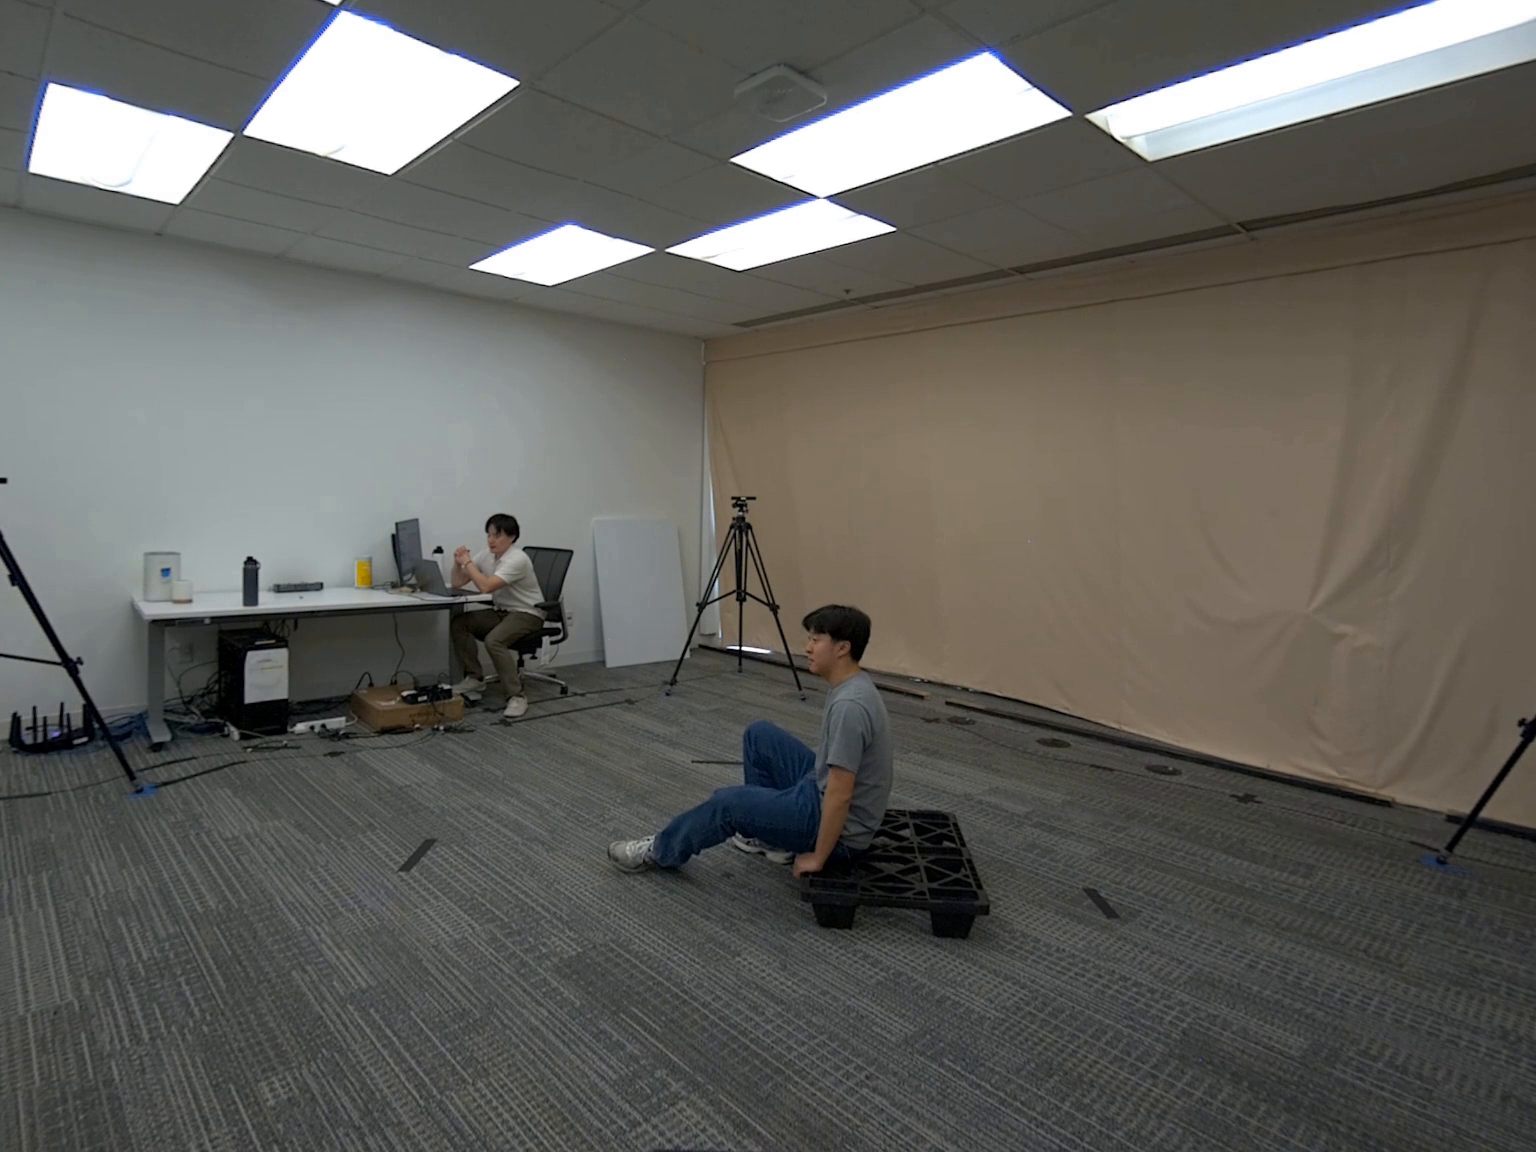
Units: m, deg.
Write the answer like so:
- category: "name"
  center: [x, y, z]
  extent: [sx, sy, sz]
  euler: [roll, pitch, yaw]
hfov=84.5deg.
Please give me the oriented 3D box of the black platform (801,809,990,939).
- category: "black platform"
  center: [0.421, 1.053, 3.066]
  extent: [0.608, 0.143, 0.804]
  euler: [1, 5, 5]
